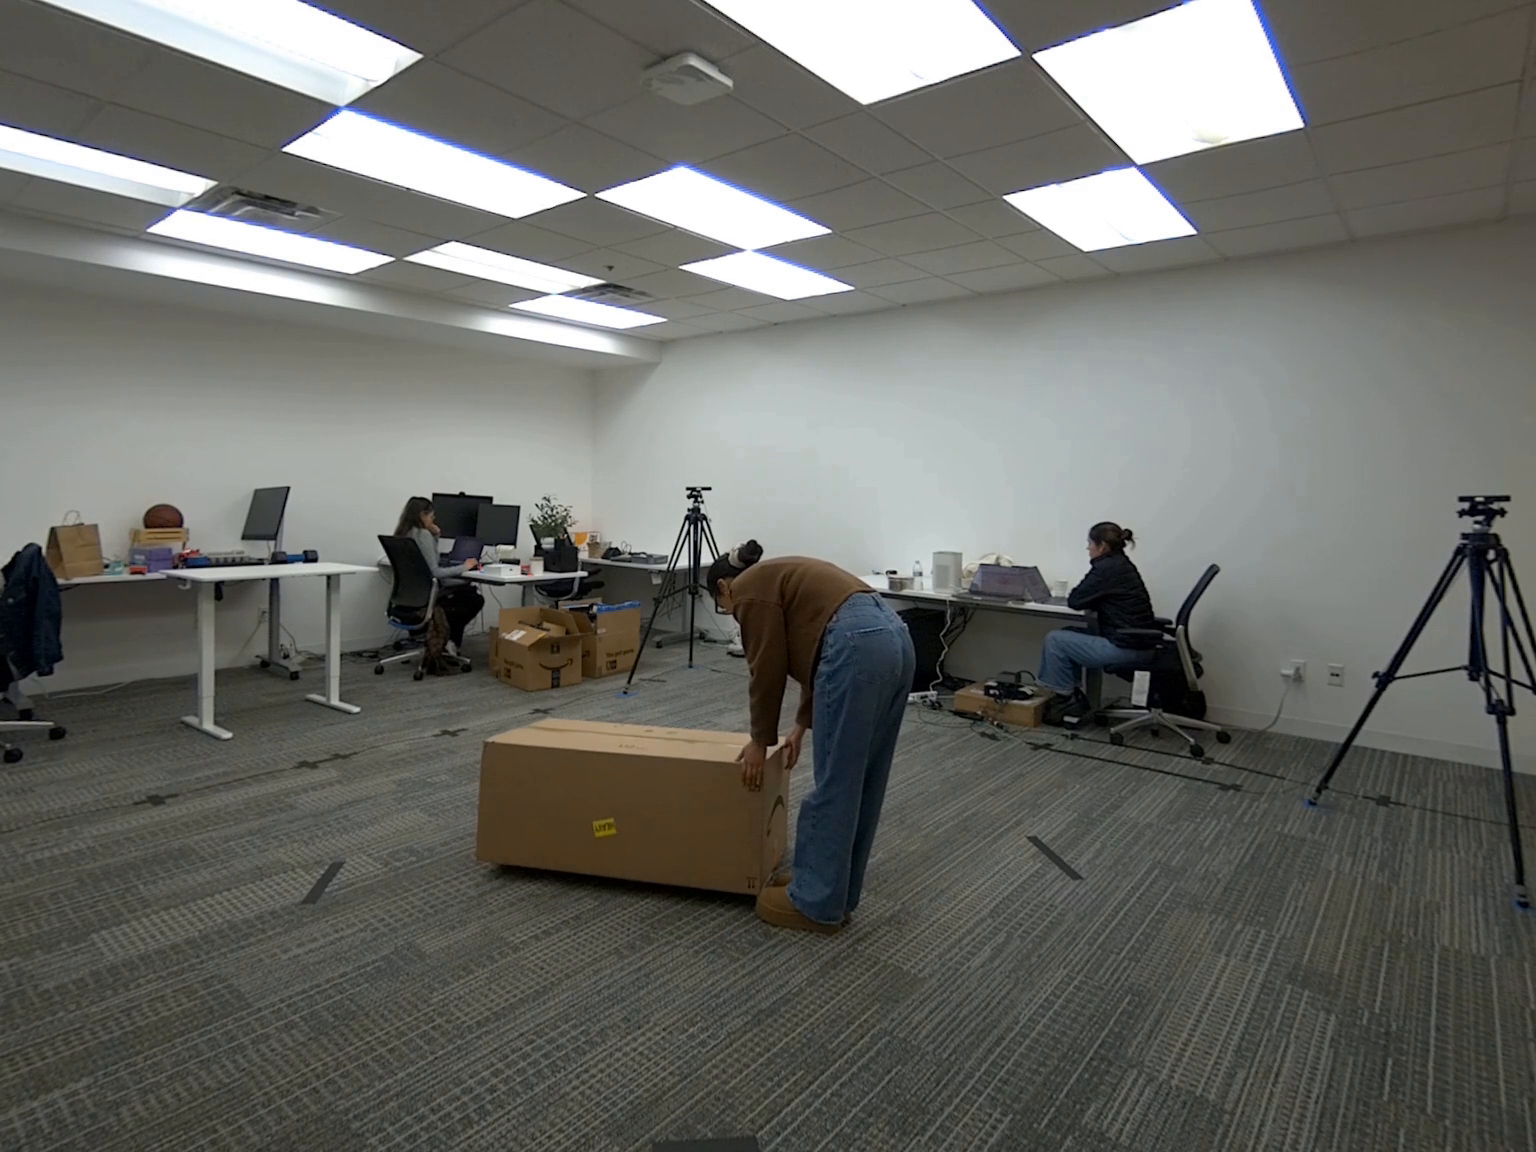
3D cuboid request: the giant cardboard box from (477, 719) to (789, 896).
[{"bbox_3d":[-0.490,0.818,3.171,1.042,0.447,0.575,1,0,13],"label":"giant cardboard box"}]
